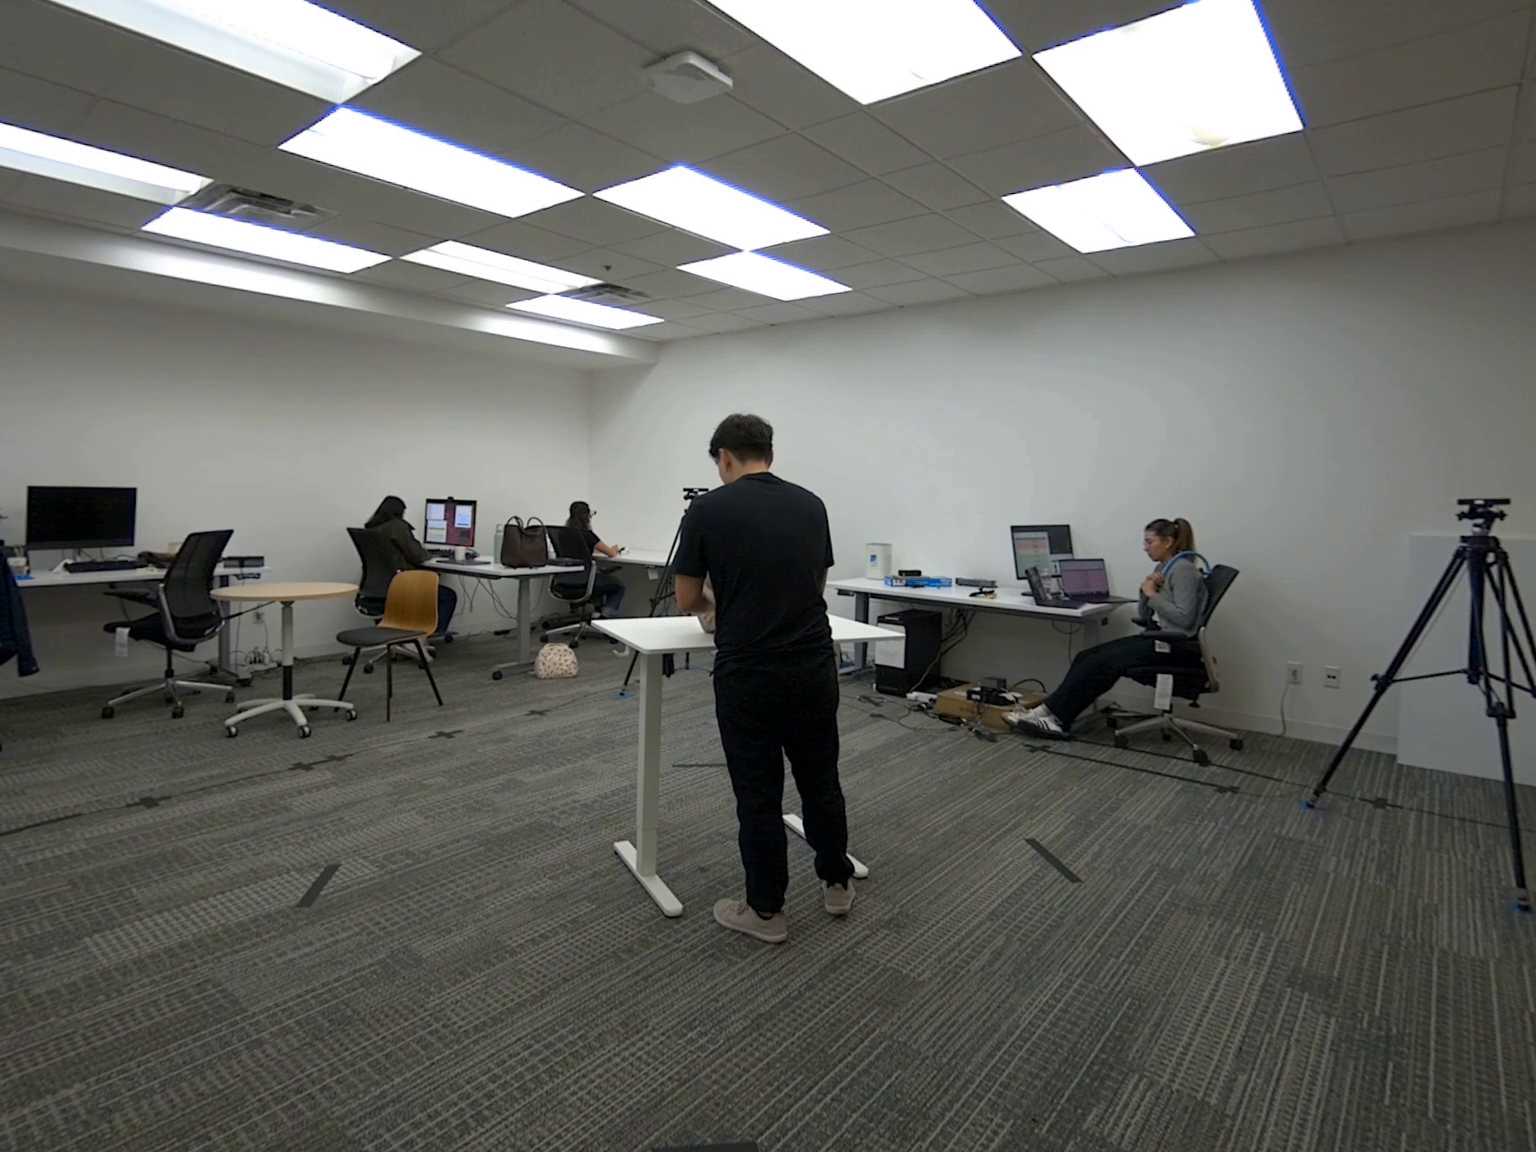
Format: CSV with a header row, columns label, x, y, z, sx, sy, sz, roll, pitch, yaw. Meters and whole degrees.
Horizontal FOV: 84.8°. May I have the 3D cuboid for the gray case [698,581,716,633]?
label,x,y,z,sx,sy,sz,roll,pitch,yaw
gray case,-0.189,0.039,2.954,0.102,0.265,0.259,-11,-14,-33
